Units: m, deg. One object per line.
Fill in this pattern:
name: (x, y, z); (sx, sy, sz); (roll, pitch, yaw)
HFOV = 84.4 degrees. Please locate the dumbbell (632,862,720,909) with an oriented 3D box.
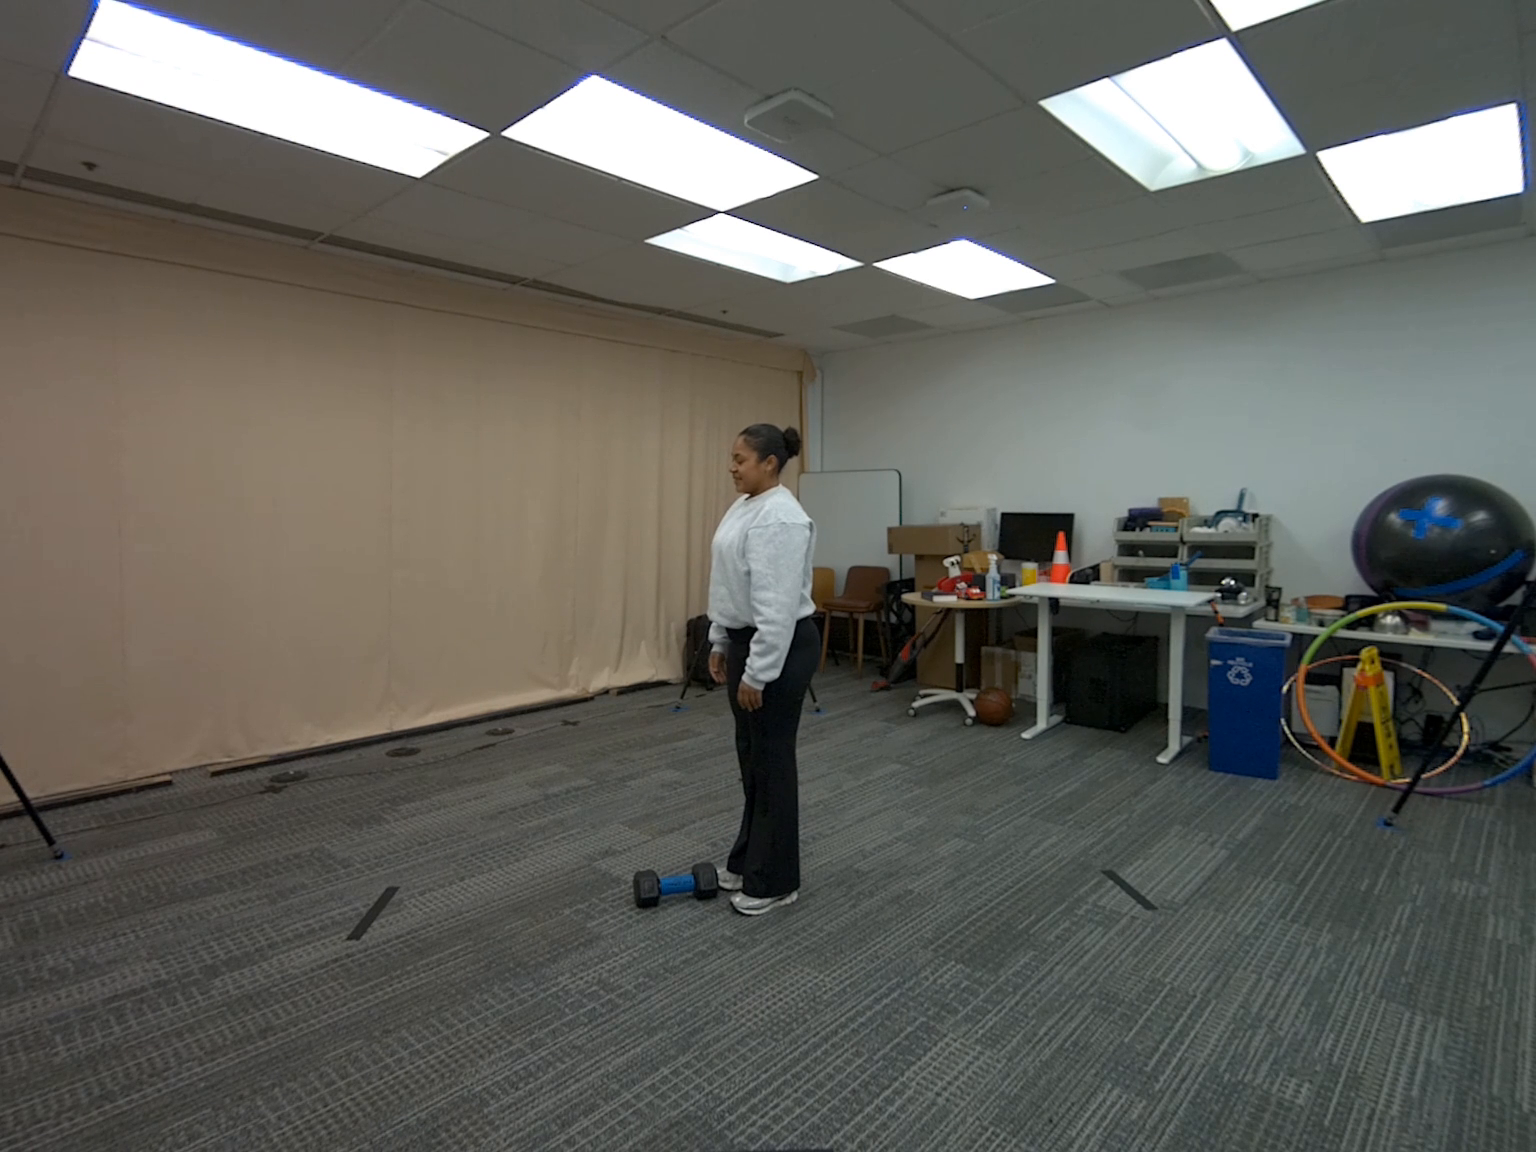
dumbbell: (-0.325, 1.099, 2.982); (0.289, 0.121, 0.112); (-1, 31, -16)
